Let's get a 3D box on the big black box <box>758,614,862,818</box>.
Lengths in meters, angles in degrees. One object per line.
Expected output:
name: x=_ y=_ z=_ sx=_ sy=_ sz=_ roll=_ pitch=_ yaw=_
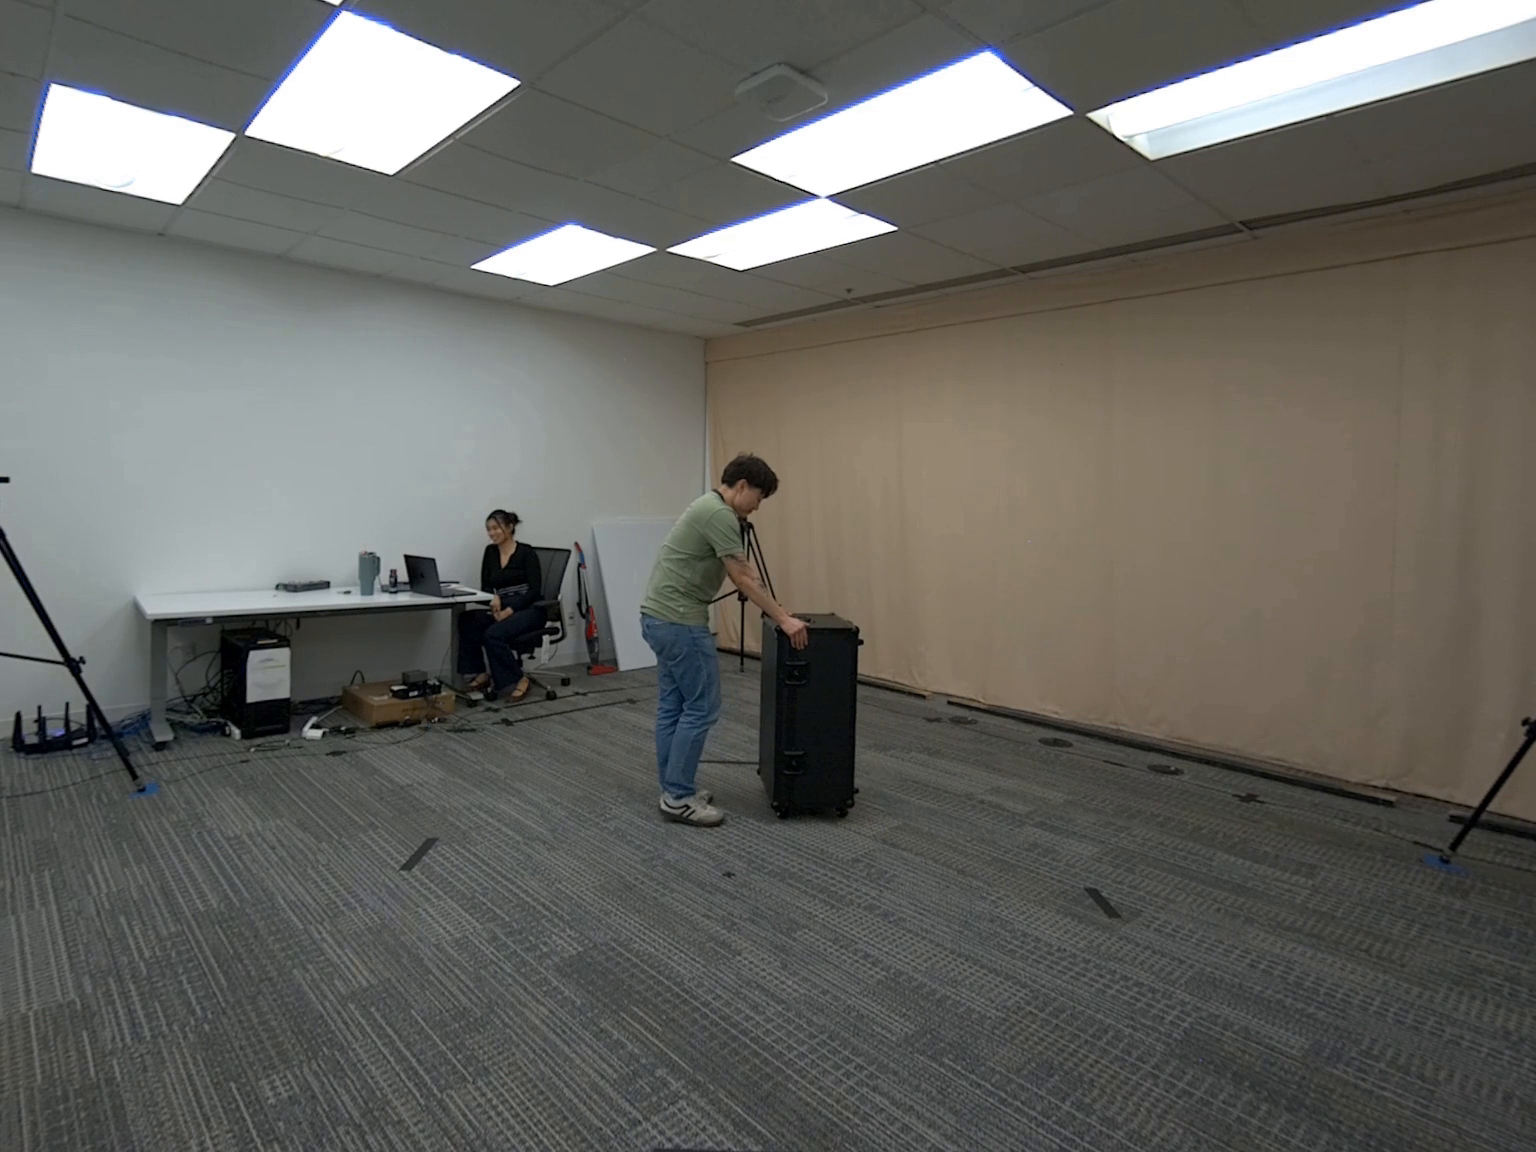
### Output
big black box: x=0.171 y=0.624 z=3.841 sx=0.394 sy=0.860 sz=0.525 roll=3 pitch=2 yaw=-9
